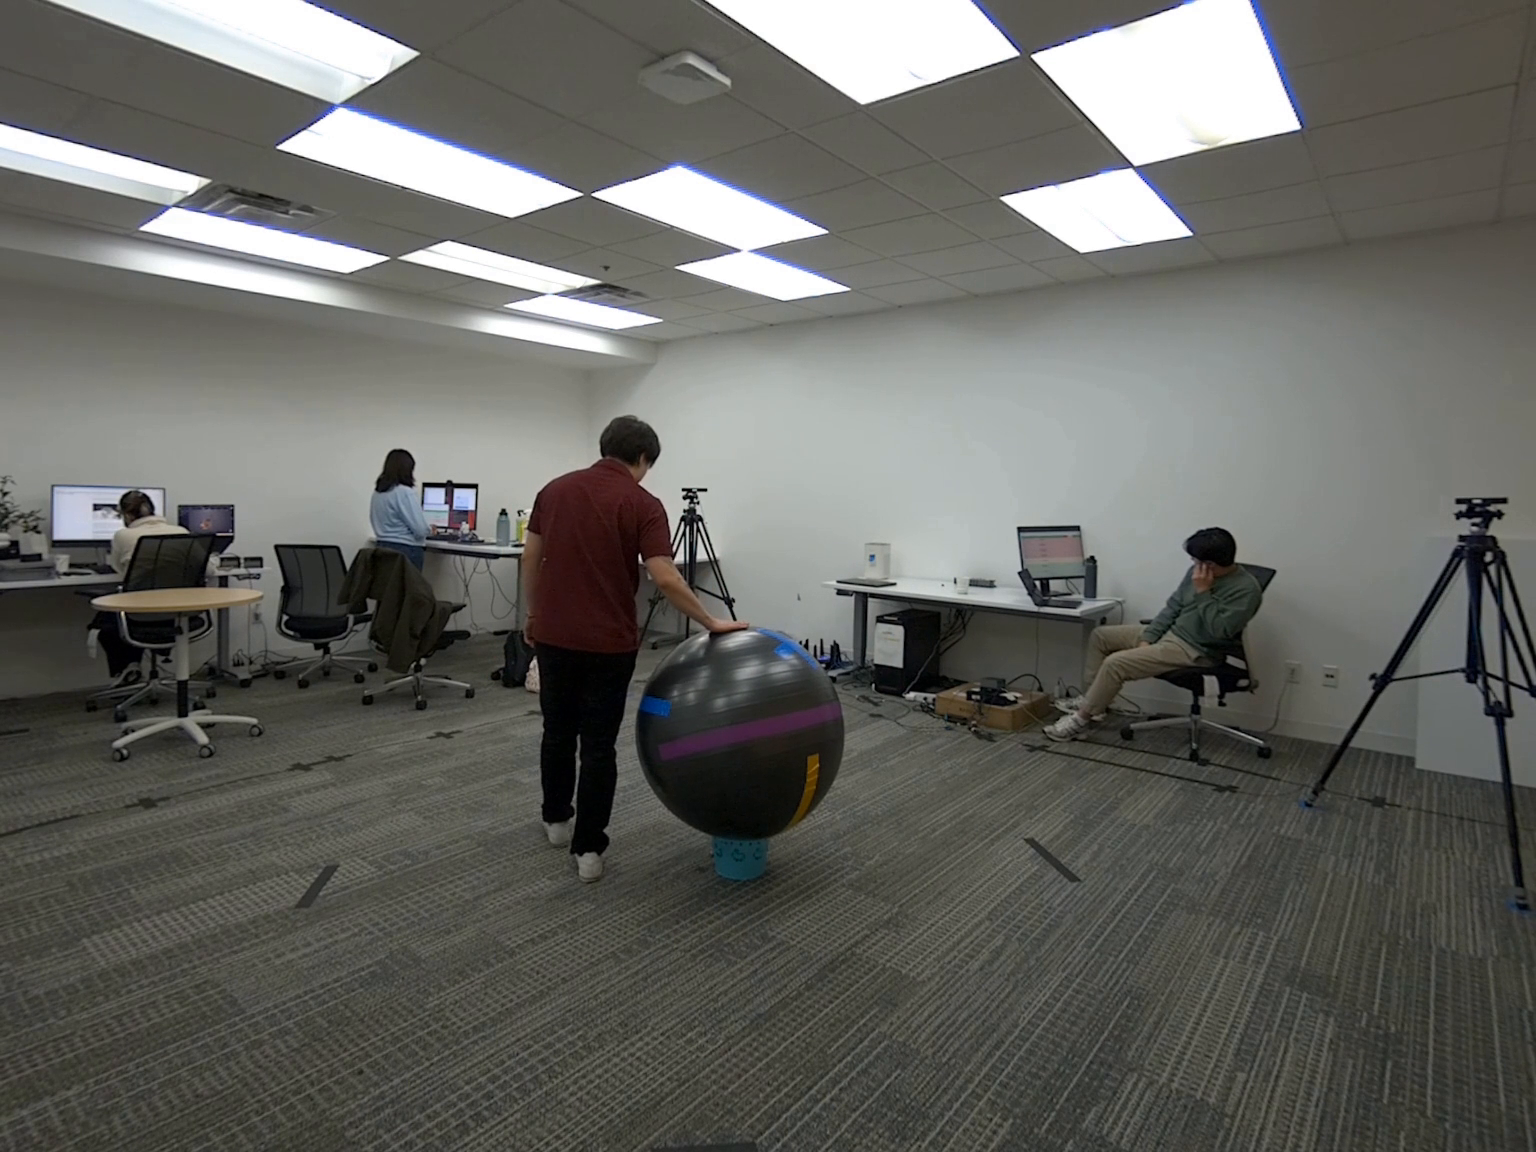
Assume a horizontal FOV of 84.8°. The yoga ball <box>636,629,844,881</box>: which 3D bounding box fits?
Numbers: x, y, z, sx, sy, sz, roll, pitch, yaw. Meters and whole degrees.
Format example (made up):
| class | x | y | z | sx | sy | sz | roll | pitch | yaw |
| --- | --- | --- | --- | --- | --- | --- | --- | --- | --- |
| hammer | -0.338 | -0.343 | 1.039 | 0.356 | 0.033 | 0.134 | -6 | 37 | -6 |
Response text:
| class | x | y | z | sx | sy | sz | roll | pitch | yaw |
| --- | --- | --- | --- | --- | --- | --- | --- | --- | --- |
| yoga ball | -0.116 | 0.562 | 3.102 | 0.757 | 0.755 | 0.762 | 1 | 4 | -2 |
